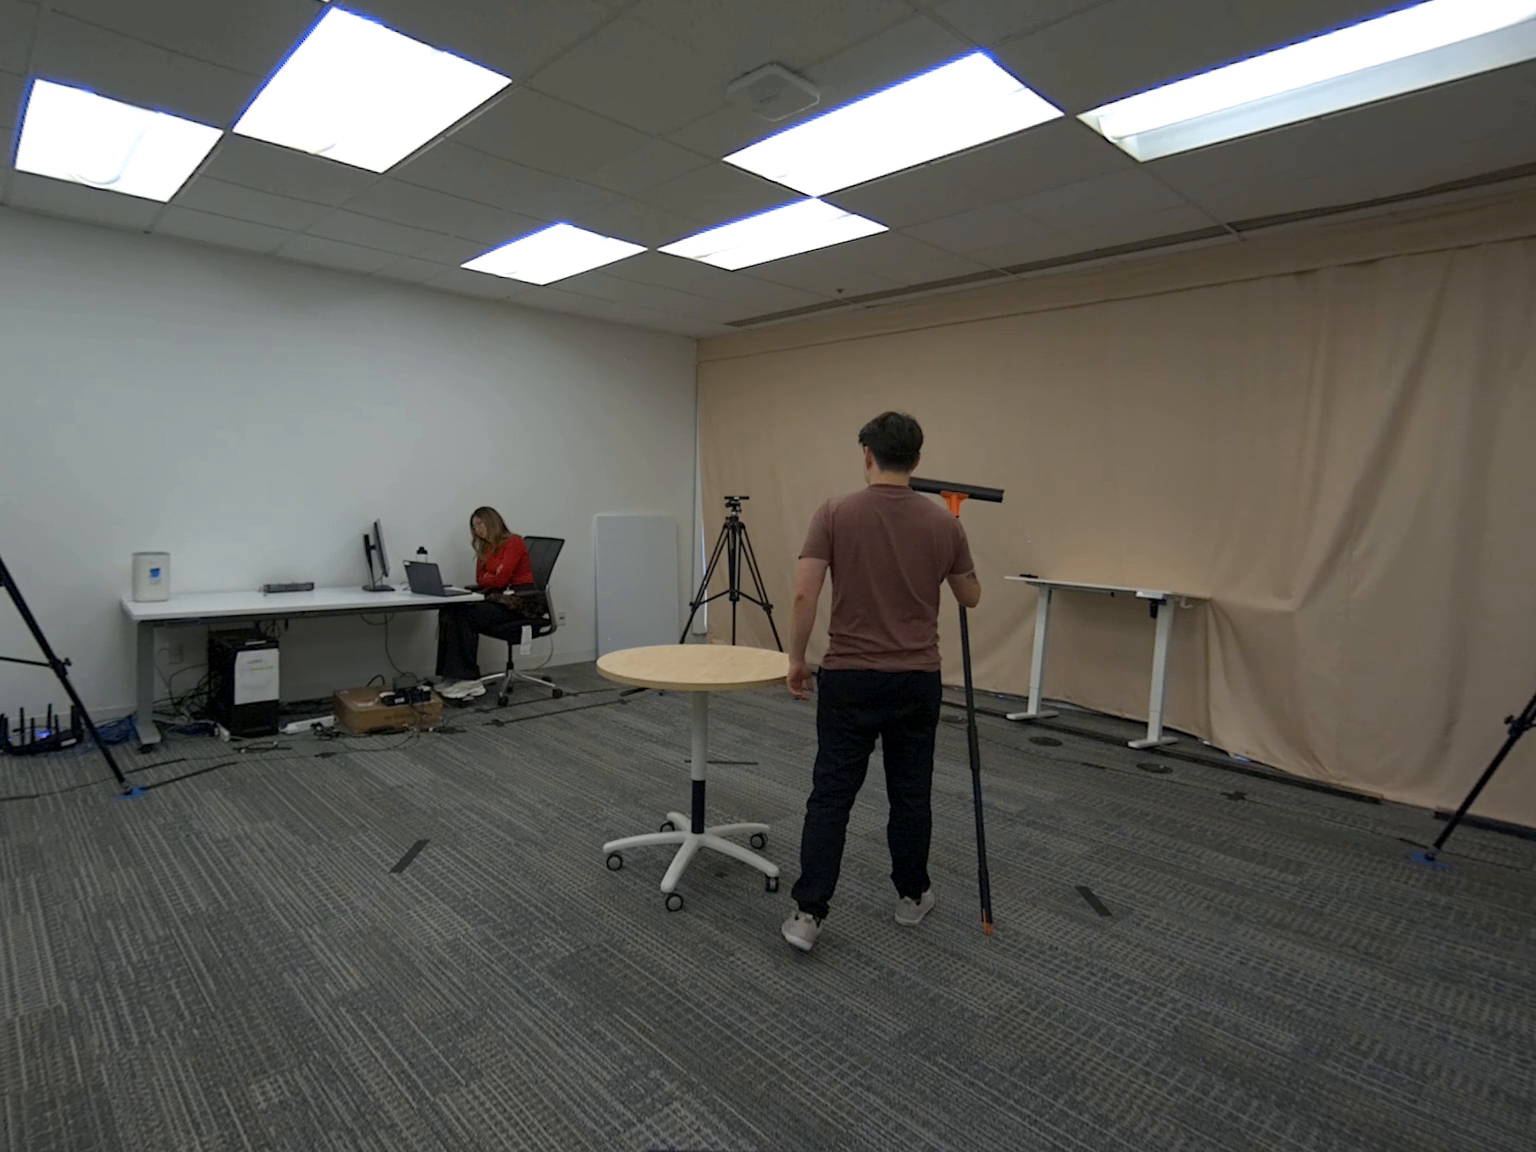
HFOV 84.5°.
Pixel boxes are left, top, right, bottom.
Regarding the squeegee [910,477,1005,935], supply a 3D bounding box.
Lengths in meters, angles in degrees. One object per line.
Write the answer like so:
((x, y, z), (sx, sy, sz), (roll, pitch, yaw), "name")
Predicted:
((0.692, 0.385, 2.953), (0.431, 1.556, 0.053), (5, -17, -16), "squeegee")
